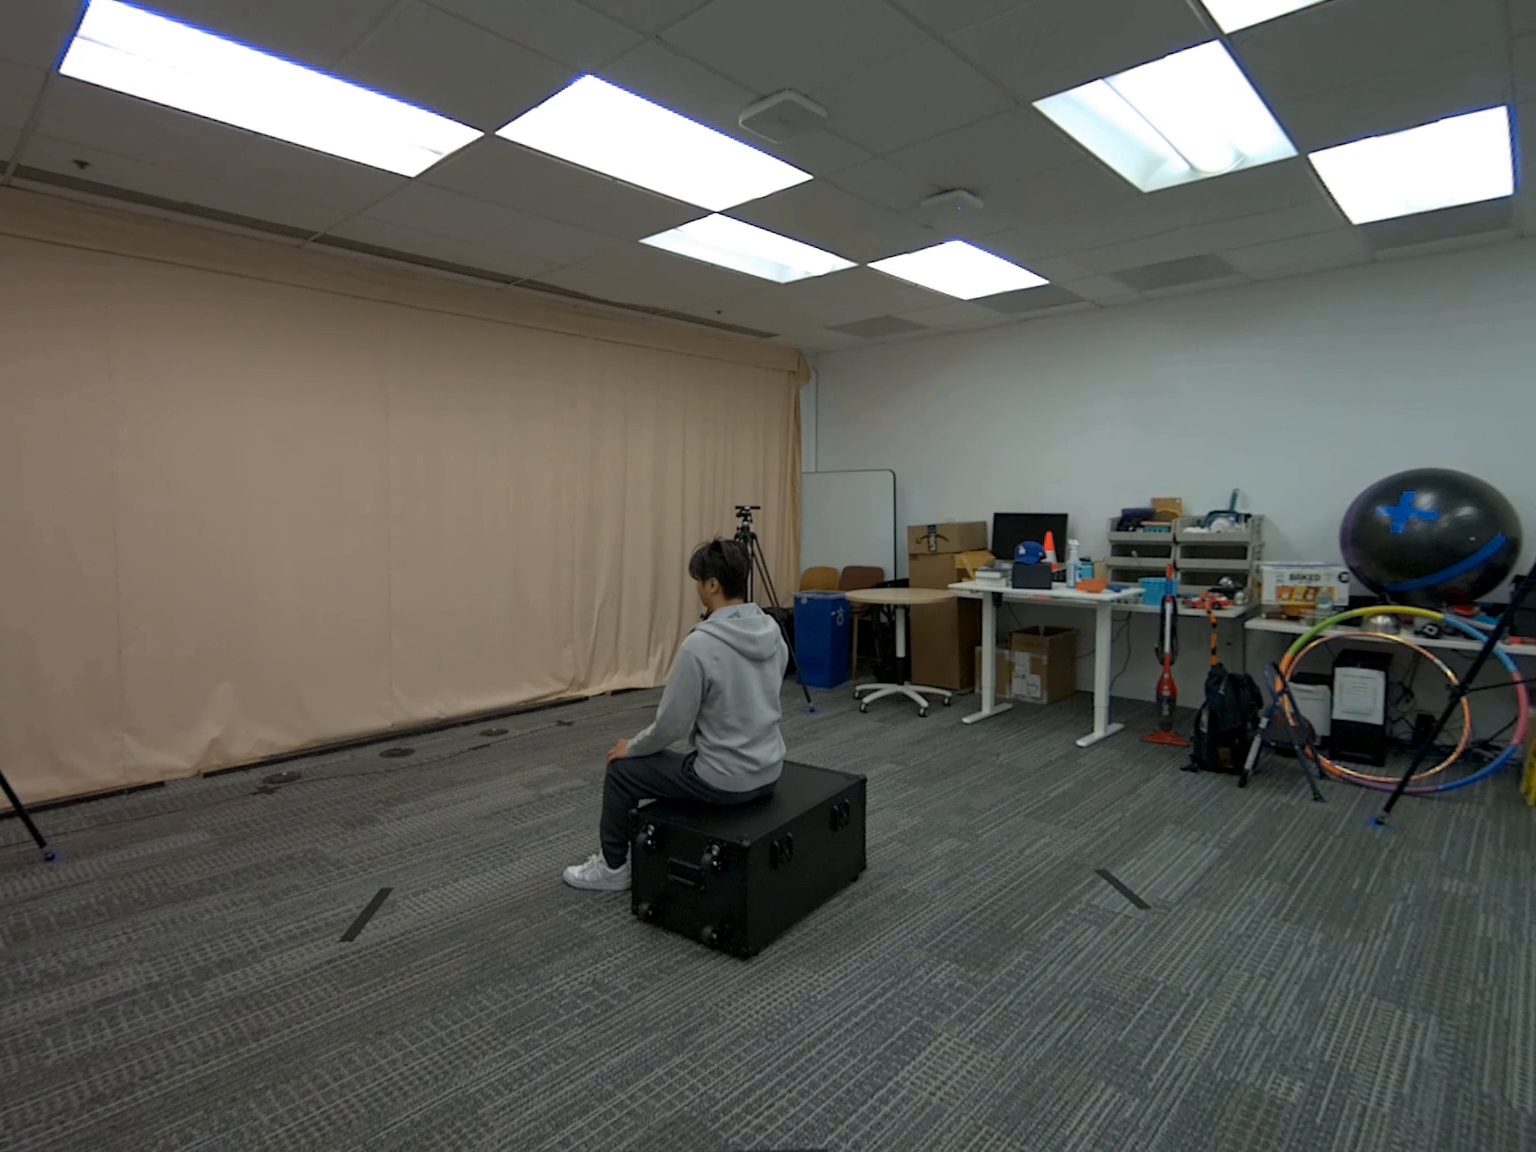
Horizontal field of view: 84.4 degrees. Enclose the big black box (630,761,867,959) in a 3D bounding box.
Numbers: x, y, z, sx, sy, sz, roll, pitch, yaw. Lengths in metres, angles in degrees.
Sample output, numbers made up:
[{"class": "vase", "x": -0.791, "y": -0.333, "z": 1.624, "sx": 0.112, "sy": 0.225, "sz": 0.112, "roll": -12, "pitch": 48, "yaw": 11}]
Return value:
[{"class": "big black box", "x": -0.020, "y": 0.958, "z": 3.011, "sx": 0.538, "sy": 0.395, "sz": 0.836, "roll": 3, "pitch": 6, "yaw": 35}]
